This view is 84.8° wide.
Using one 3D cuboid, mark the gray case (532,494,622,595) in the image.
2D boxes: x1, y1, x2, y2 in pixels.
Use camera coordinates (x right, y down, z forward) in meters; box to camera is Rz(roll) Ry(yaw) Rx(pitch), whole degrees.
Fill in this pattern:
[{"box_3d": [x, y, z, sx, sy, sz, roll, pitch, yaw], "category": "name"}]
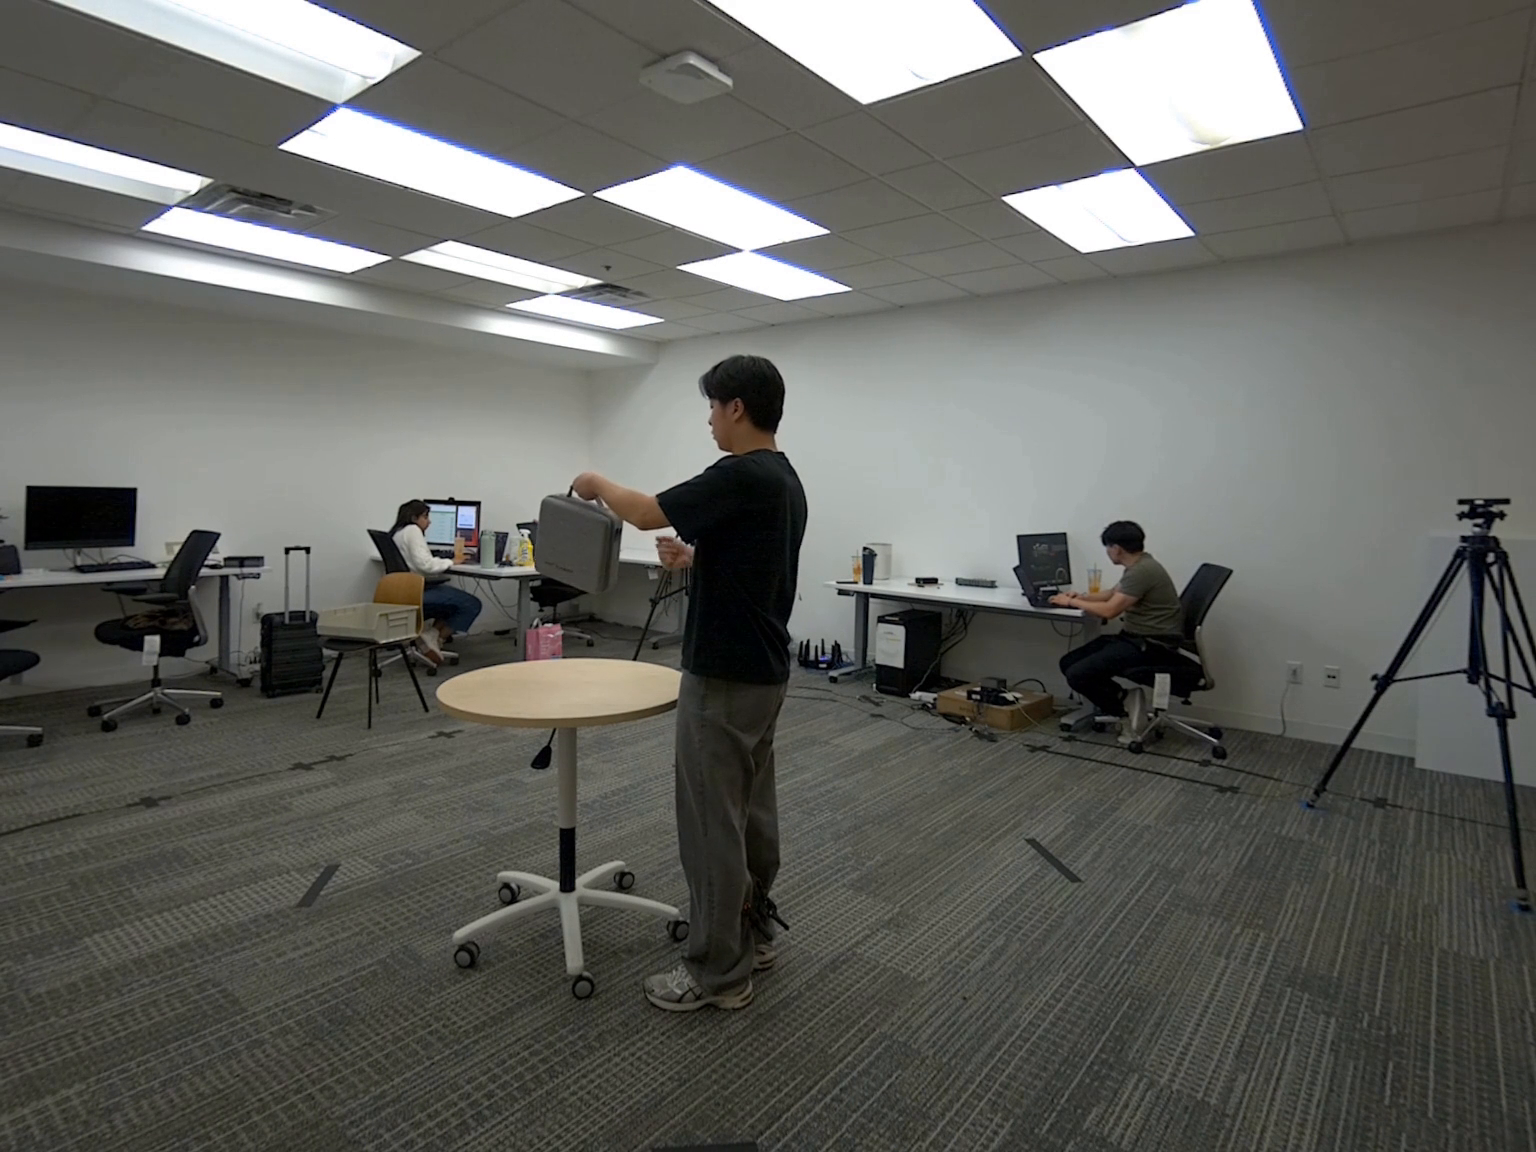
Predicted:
[{"box_3d": [-0.575, -0.111, 2.537, 0.271, 0.283, 0.101, 19, 19, 22], "category": "gray case"}]
